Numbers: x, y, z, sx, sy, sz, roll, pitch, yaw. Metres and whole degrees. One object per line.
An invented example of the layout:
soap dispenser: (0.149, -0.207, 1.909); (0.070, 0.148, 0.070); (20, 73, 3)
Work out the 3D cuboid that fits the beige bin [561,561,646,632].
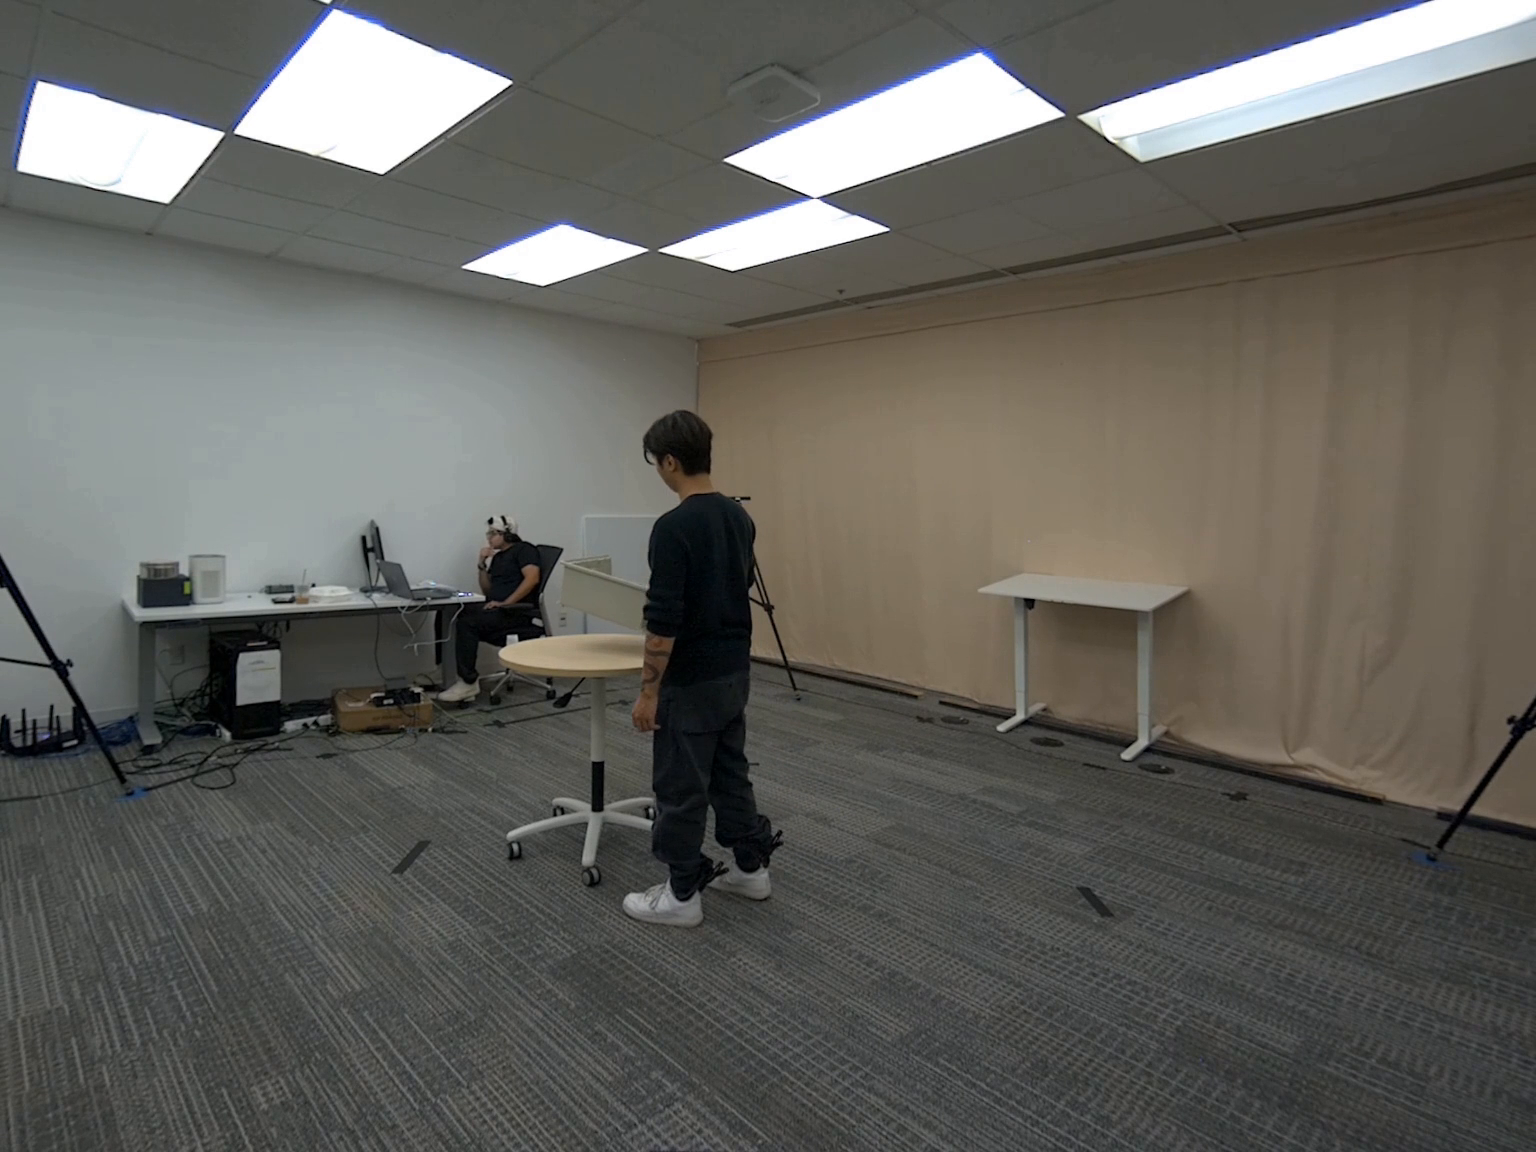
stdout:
beige bin: (-0.573, 0.069, 3.374); (0.431, 0.188, 0.372); (16, 13, 22)
